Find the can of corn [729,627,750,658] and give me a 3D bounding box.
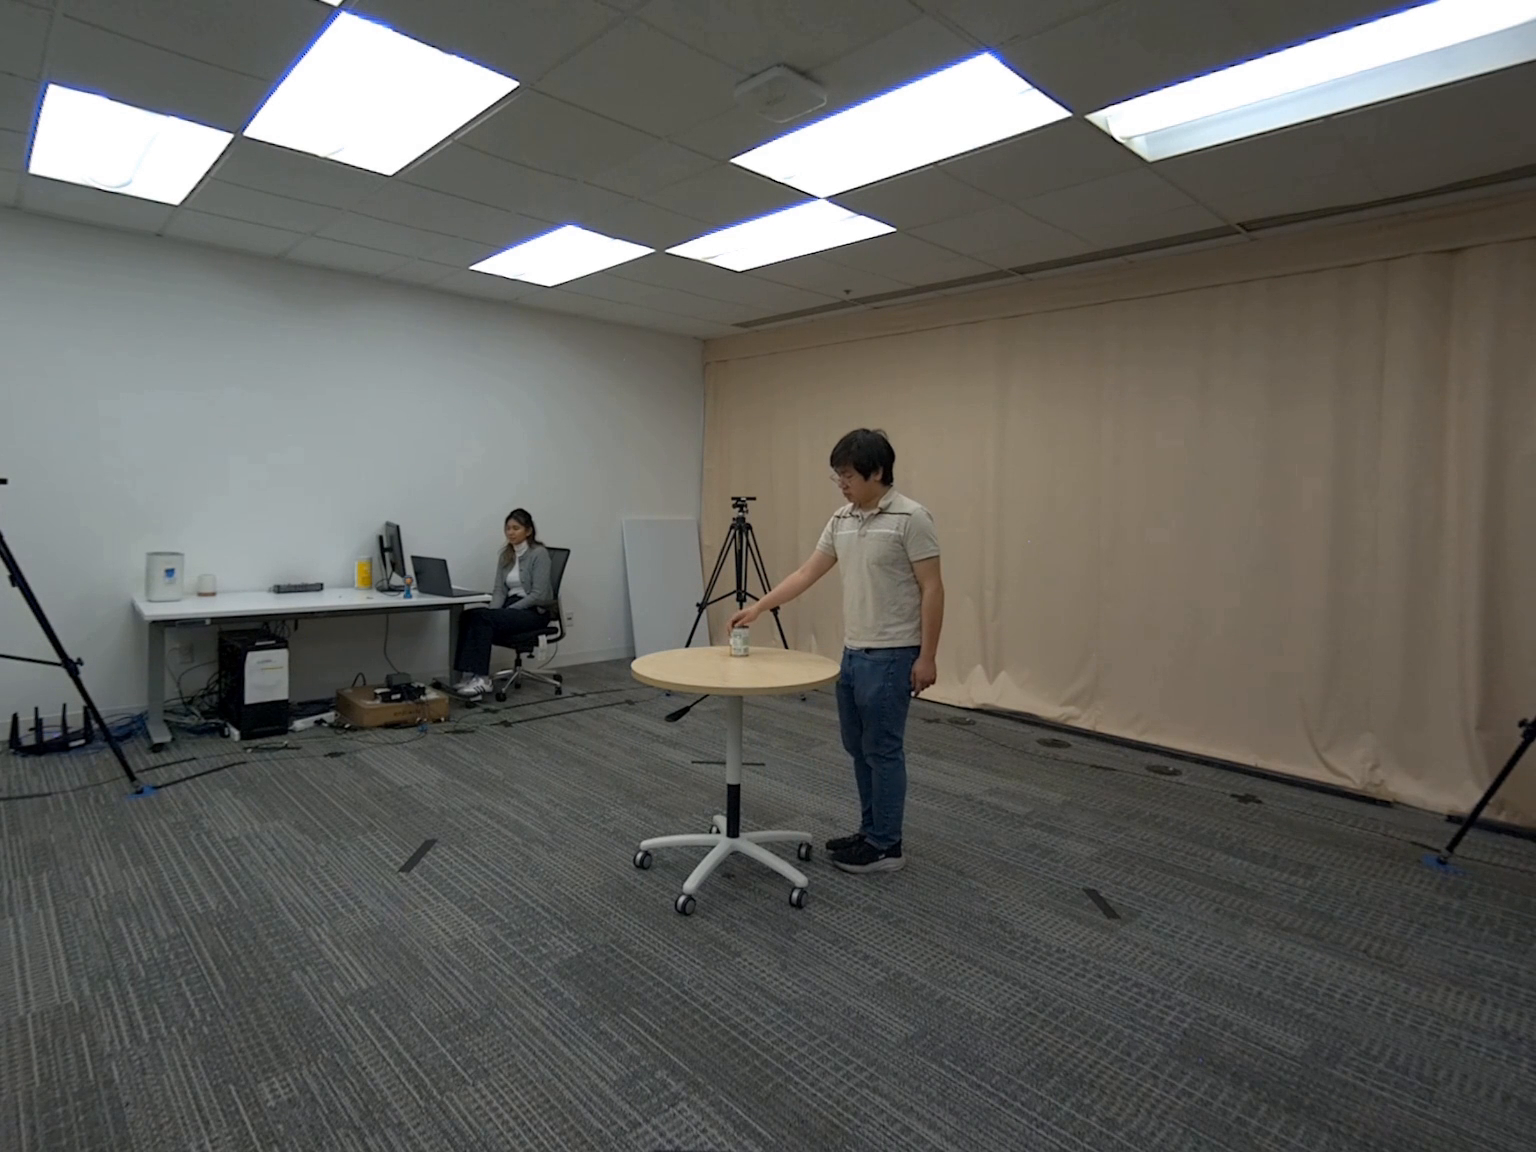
[{"bbox_3d":[-0.108,0.253,3.263,0.074,0.111,0.074,0,5,-1],"label":"can of corn"}]
